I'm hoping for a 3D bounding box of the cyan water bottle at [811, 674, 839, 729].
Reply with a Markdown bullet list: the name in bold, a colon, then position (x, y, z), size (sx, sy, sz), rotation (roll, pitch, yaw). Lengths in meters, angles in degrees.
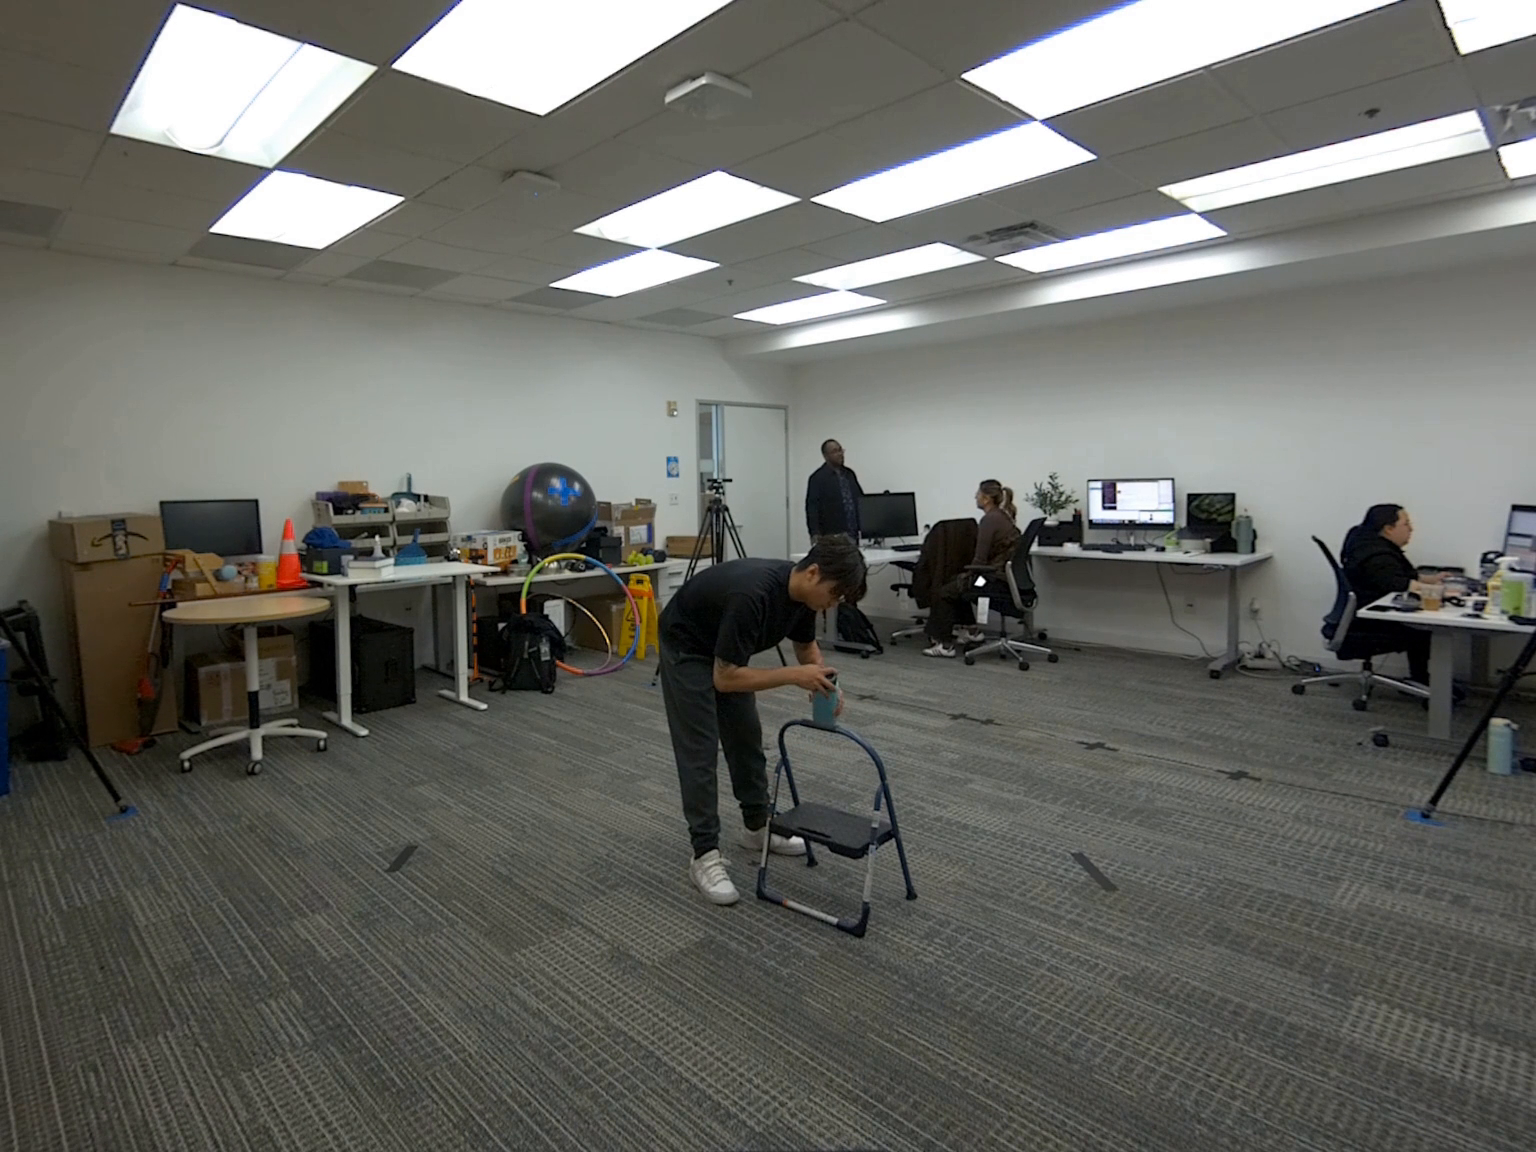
- **cyan water bottle**: position (0.196, 0.419, 2.919), size (0.092, 0.095, 0.275), rotation (-1, -41, -1)
